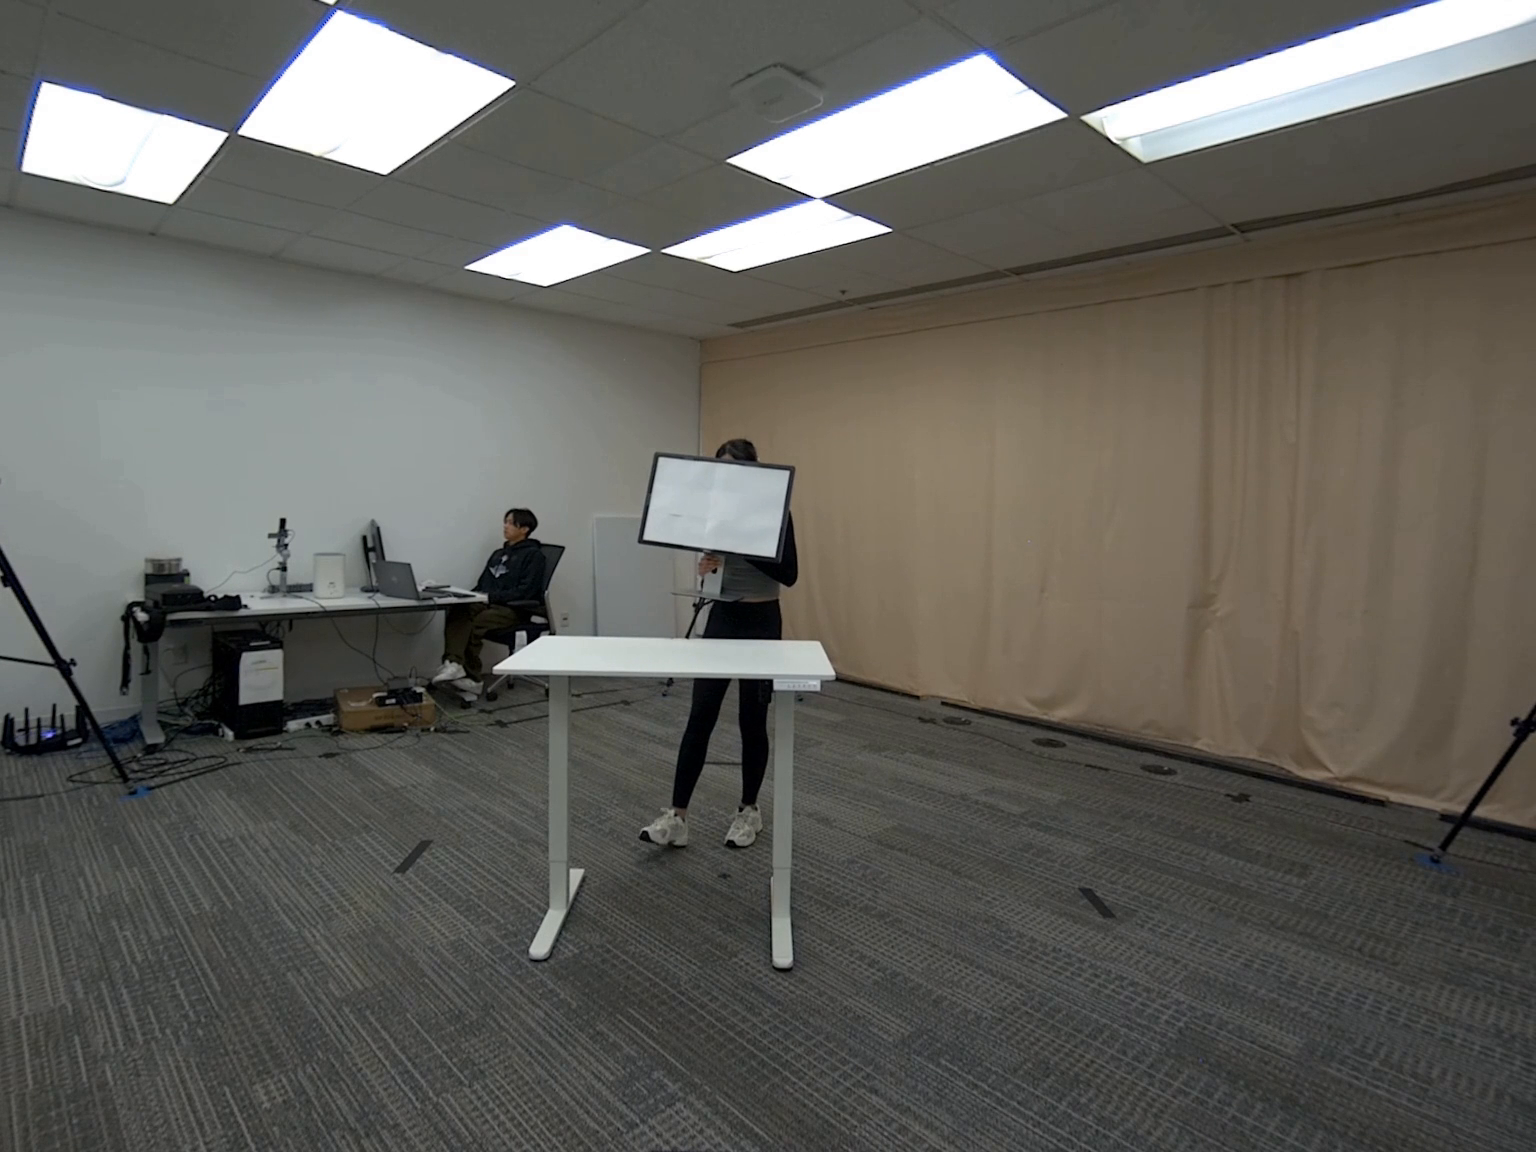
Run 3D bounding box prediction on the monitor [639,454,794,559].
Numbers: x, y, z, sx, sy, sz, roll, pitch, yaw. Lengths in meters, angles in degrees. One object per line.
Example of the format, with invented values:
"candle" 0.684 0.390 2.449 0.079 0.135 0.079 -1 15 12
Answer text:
"monitor" -0.210 -0.180 3.188 0.546 0.522 0.184 7 1 16
